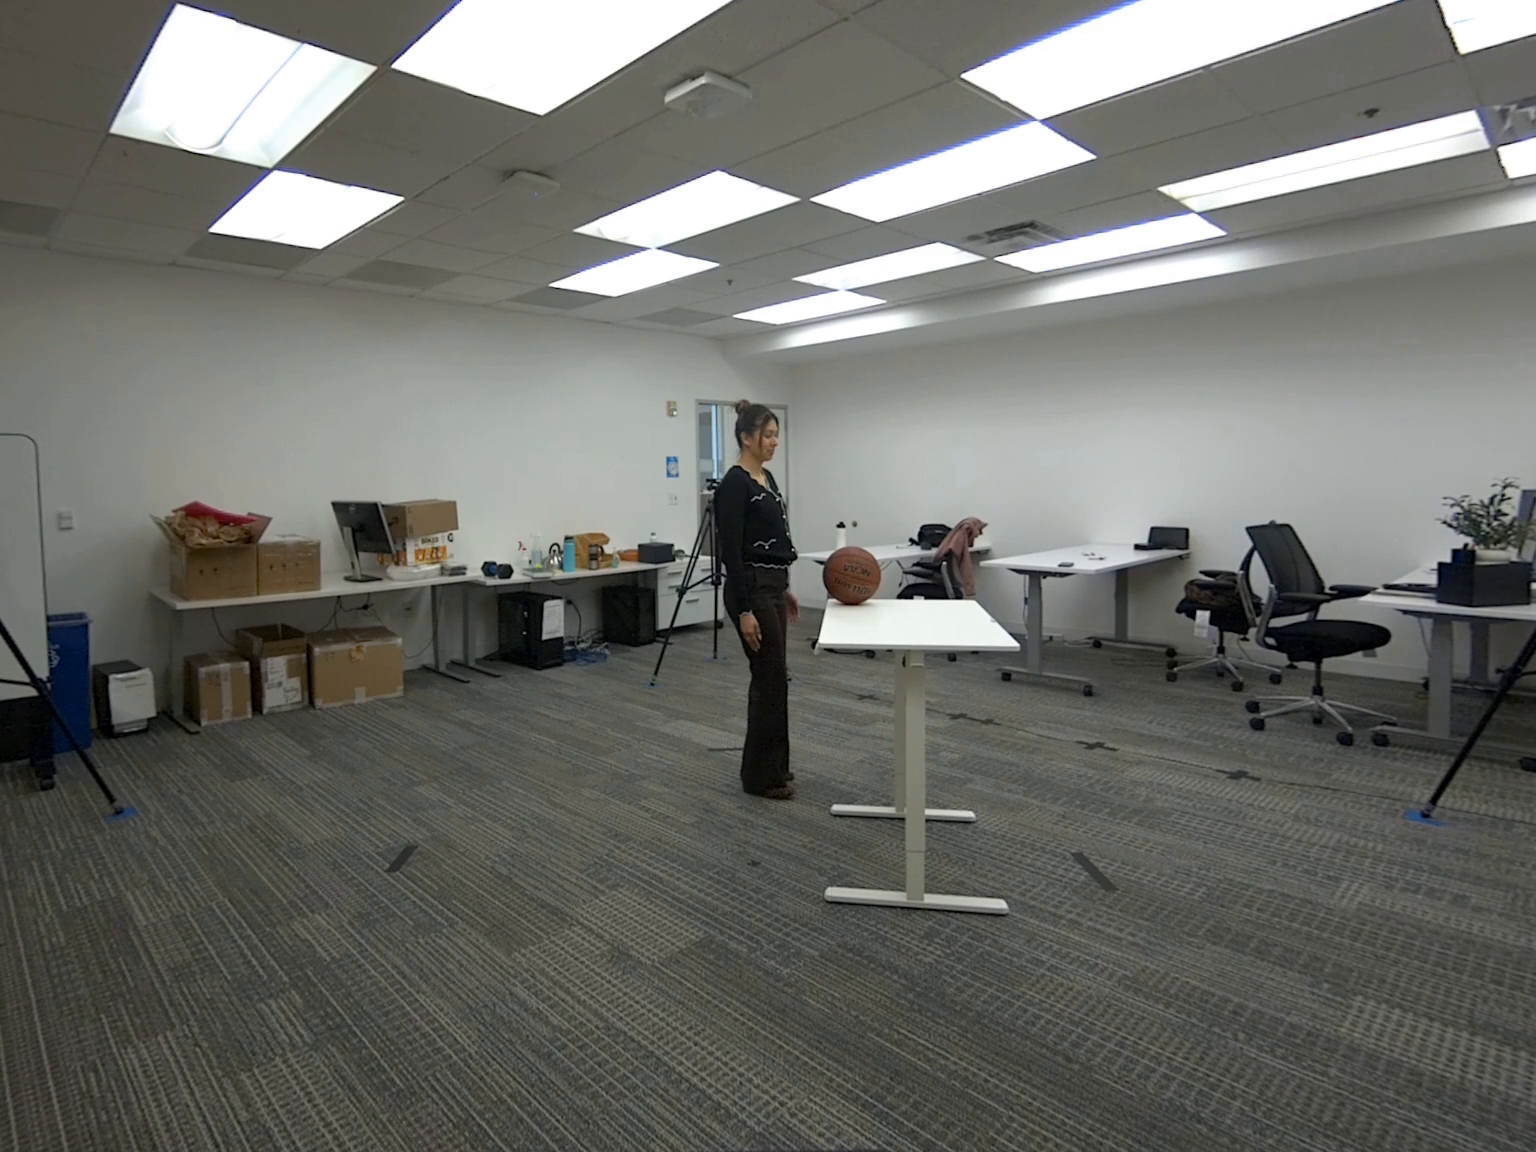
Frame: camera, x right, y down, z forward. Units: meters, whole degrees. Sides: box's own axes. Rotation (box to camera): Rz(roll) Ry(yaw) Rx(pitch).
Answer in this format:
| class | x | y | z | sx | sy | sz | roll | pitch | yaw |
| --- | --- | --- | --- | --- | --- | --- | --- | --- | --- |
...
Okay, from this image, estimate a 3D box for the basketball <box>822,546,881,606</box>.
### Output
| class | x | y | z | sx | sy | sz | roll | pitch | yaw |
| --- | --- | --- | --- | --- | --- | --- | --- | --- | --- |
| basketball | 0.337 | -0.003 | 3.483 | 0.236 | 0.235 | 0.237 | -1 | 5 | -2 |
